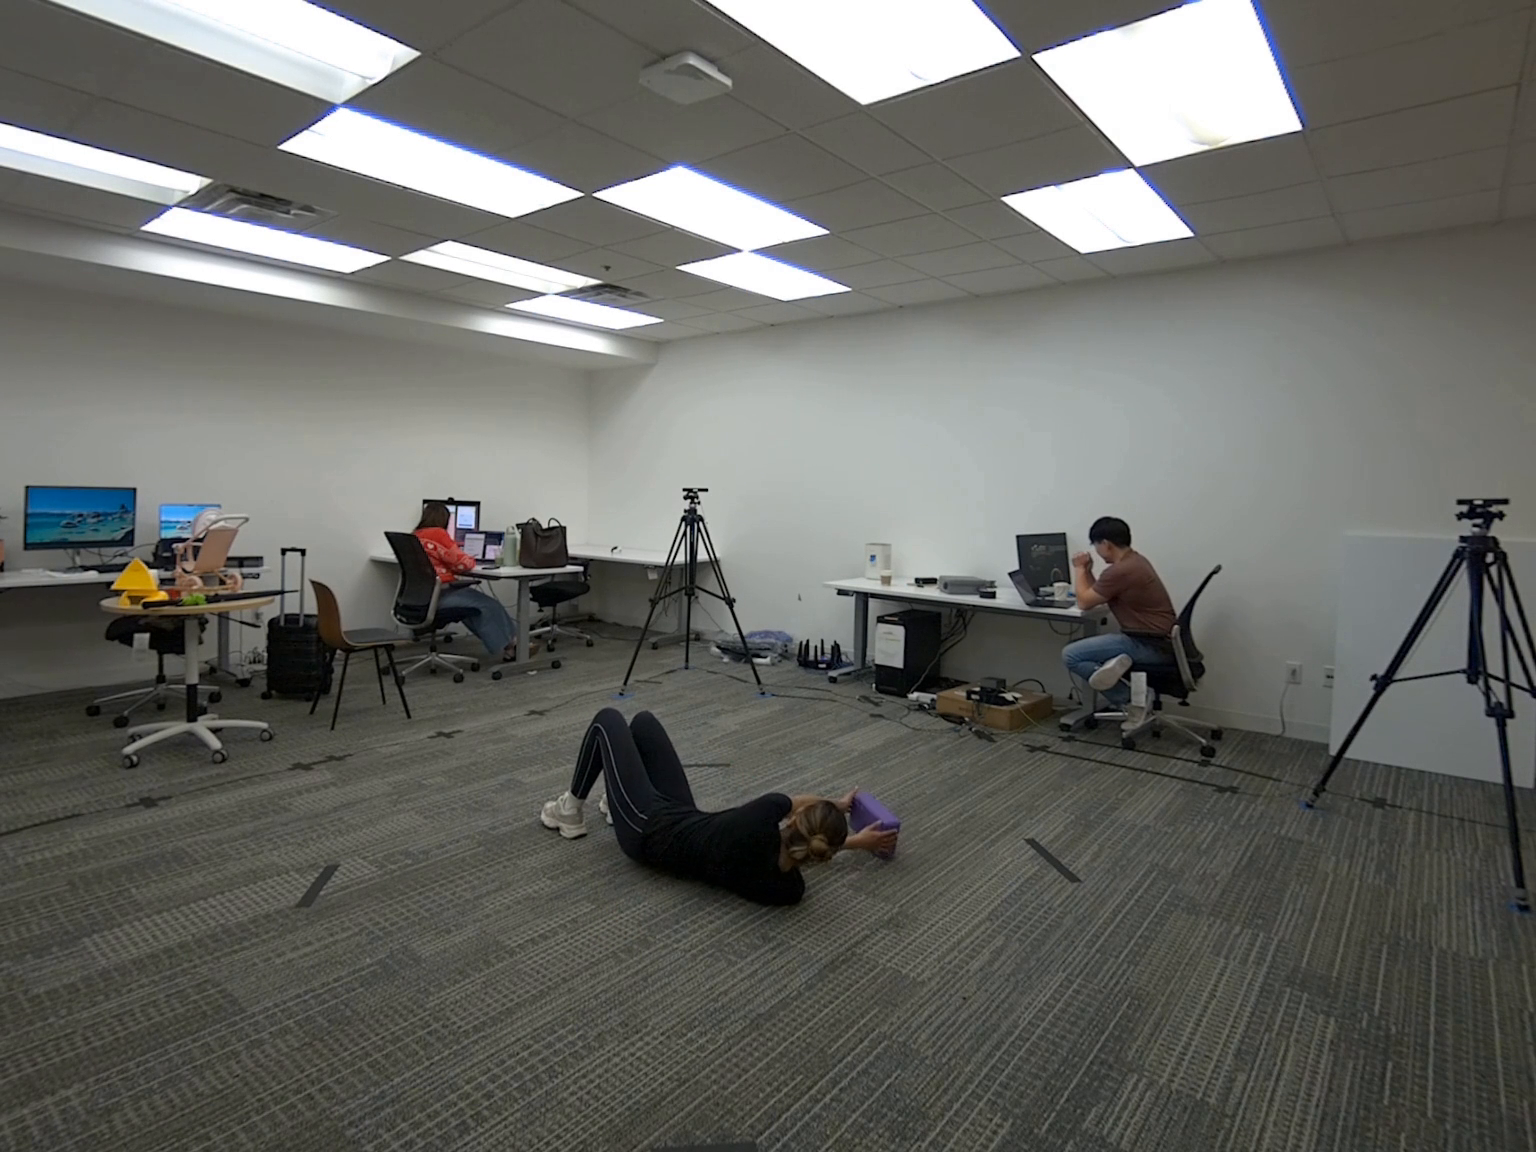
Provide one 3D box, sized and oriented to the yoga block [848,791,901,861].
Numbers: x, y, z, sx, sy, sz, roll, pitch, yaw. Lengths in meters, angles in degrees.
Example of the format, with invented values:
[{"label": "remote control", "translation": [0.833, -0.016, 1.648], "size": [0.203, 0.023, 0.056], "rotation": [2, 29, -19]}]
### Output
[{"label": "yoga block", "translation": [0.414, 0.952, 3.306], "size": [0.074, 0.147, 0.238], "rotation": [0, 14, -28]}]
